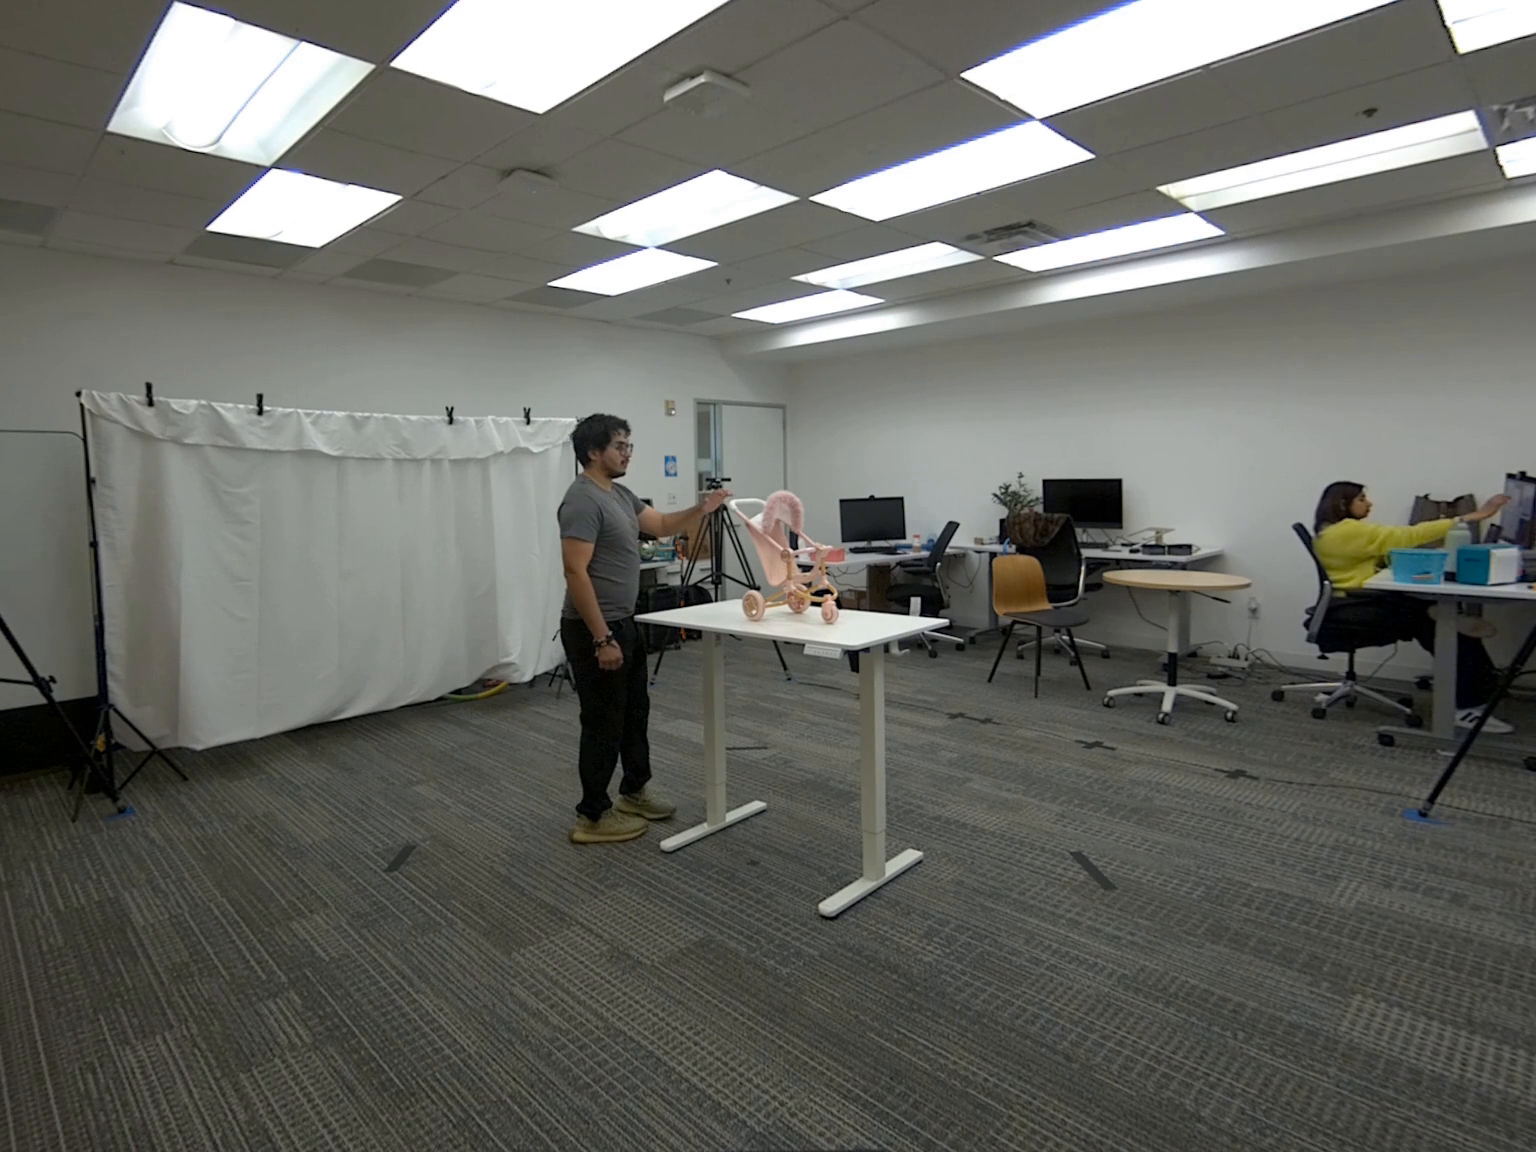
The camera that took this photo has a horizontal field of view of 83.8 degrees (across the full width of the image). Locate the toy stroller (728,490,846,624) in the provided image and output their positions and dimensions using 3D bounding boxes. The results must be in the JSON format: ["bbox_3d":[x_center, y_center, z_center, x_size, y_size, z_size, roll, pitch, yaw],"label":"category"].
[{"bbox_3d":[0.072,-0.068,3.099,0.274,0.540,0.347,-5,-10,-42],"label":"toy stroller"}]
